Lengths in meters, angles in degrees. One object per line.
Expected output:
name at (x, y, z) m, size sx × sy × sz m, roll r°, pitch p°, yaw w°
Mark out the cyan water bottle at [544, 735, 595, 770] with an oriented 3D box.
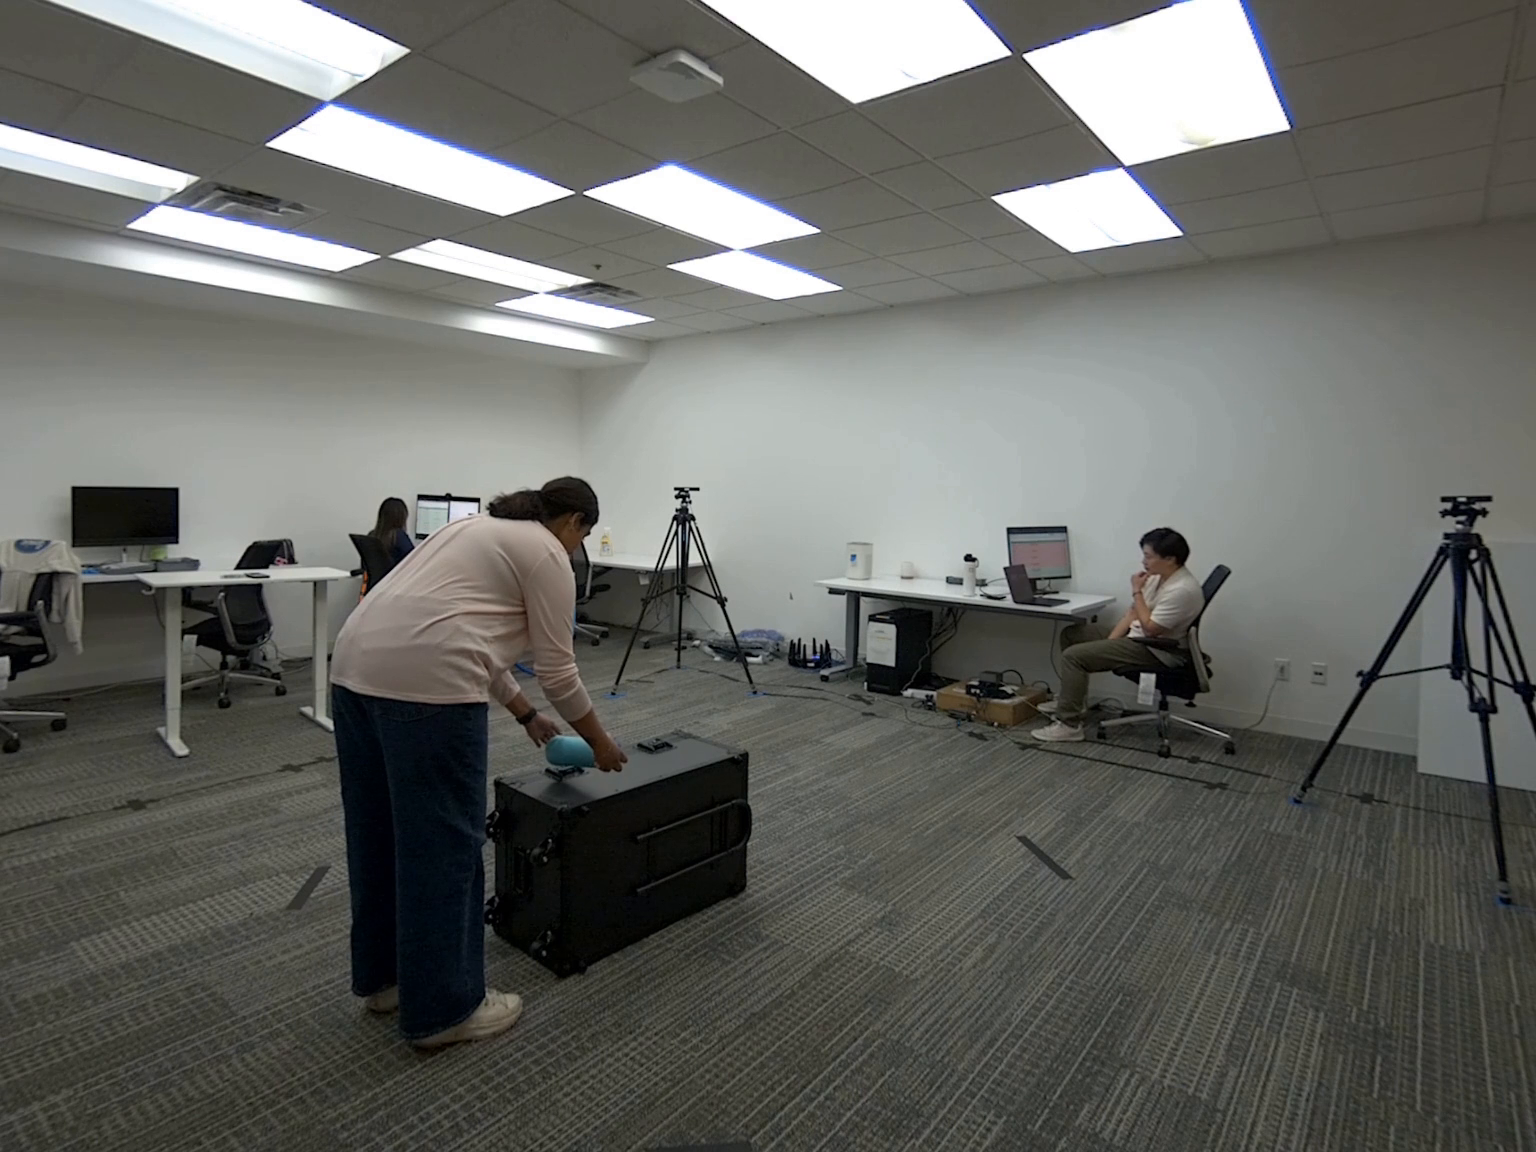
cyan water bottle at (-0.559, 0.535, 2.581) m, size 0.291 × 0.092 × 0.090 m, roll -8°, pitch -2°, yaw 37°
